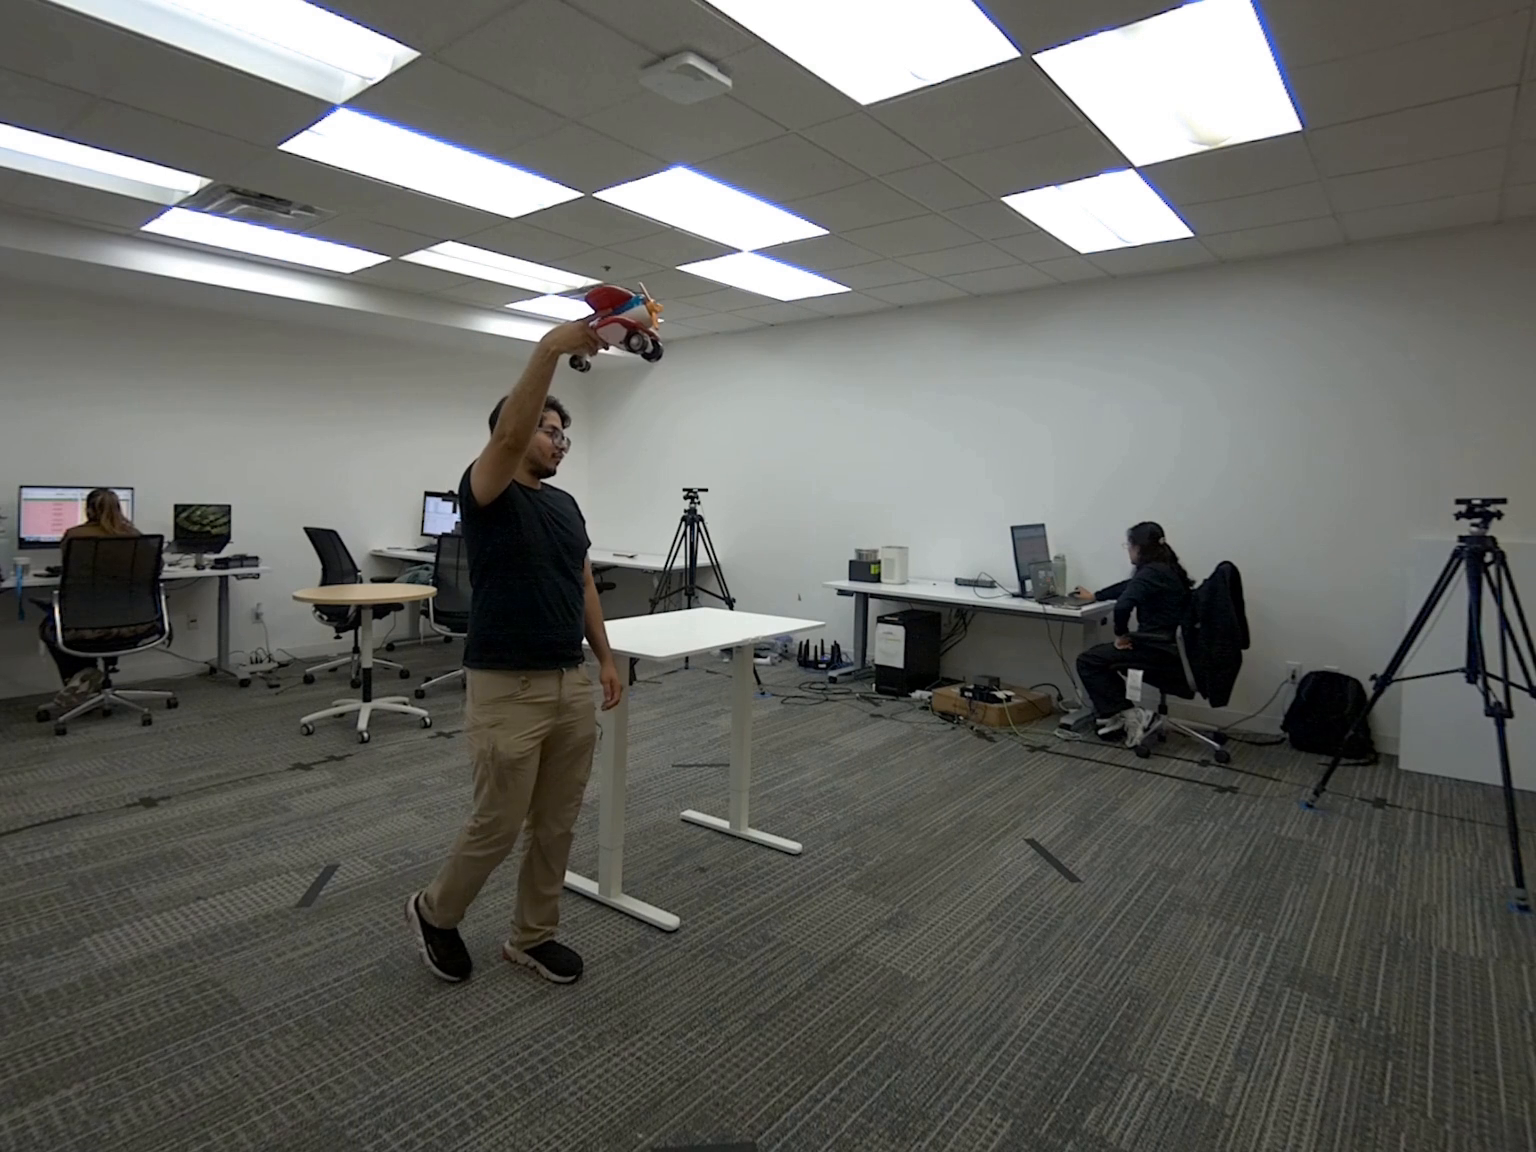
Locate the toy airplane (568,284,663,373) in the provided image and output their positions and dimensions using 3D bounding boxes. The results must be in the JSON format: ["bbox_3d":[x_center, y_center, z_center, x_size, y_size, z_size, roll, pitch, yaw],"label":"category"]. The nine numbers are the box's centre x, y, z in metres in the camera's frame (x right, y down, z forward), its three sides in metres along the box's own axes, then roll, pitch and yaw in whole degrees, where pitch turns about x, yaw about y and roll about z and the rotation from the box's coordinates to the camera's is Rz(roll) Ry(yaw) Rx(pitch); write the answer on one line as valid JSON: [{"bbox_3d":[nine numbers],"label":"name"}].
[{"bbox_3d":[-0.390,-0.589,2.033,0.257,0.157,0.252,-3,-4,-9],"label":"toy airplane"}]
